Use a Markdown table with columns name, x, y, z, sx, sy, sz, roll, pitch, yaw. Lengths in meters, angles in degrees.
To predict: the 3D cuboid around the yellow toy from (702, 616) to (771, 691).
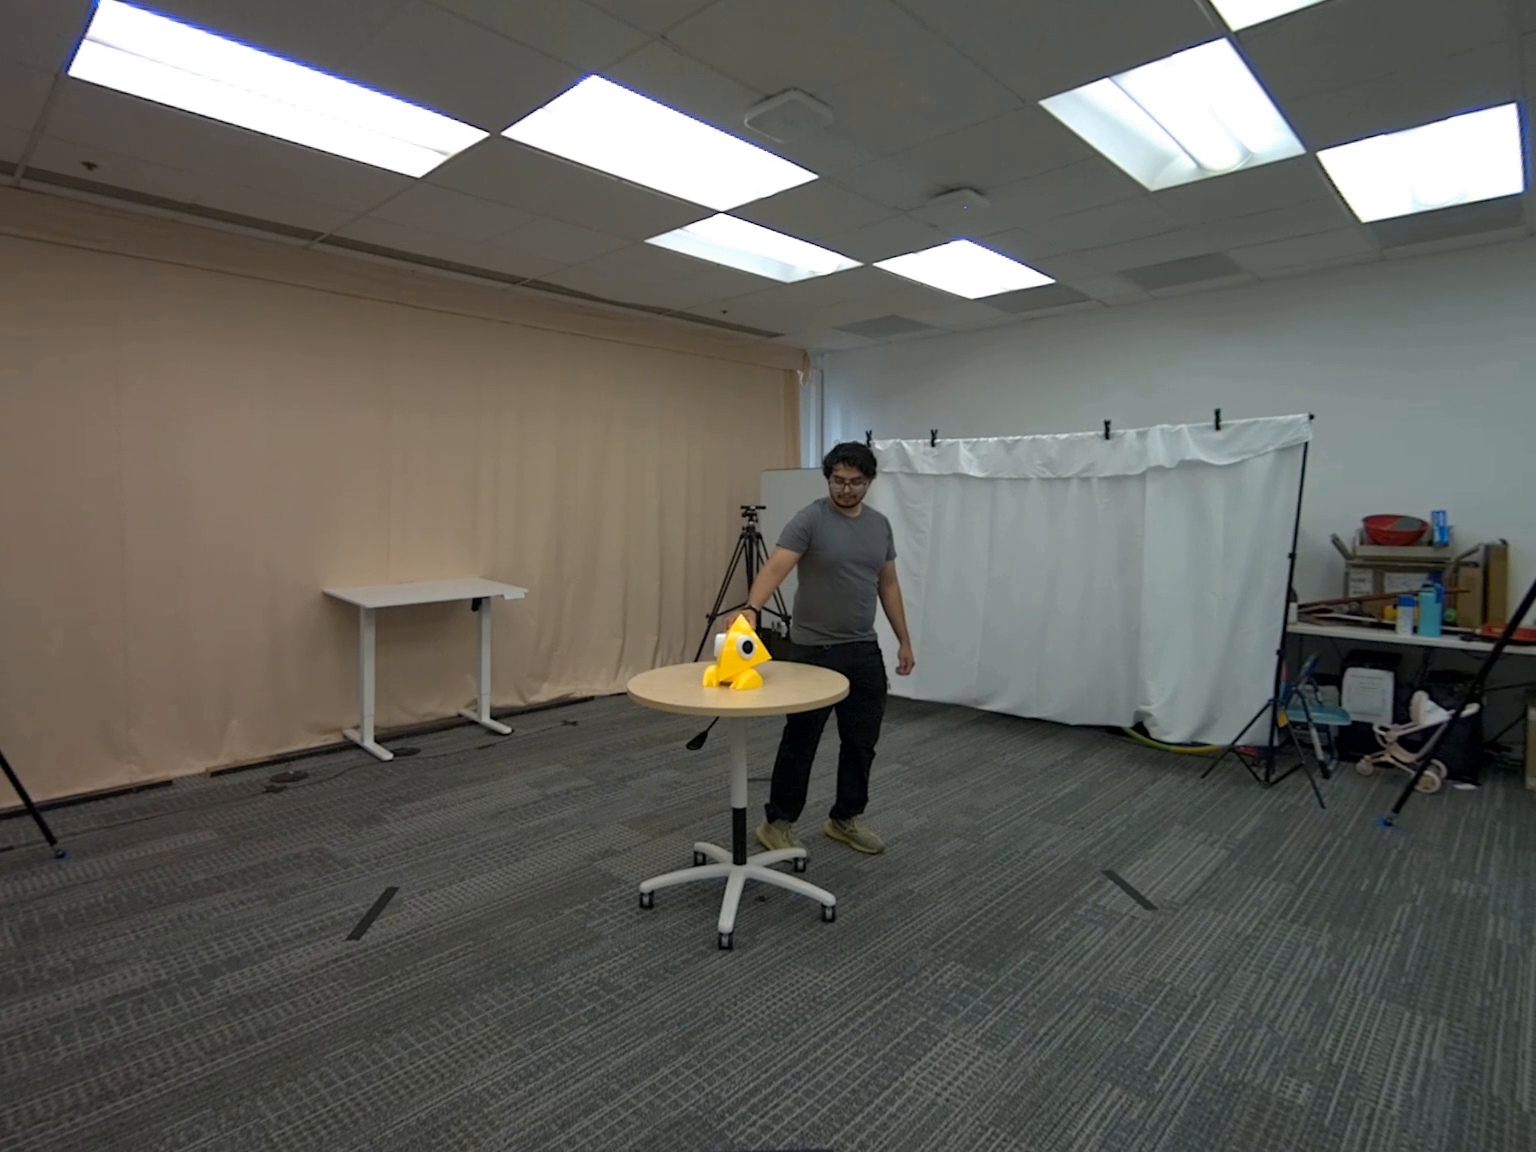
| name | x | y | z | sx | sy | sz | roll | pitch | yaw |
| --- | --- | --- | --- | --- | --- | --- | --- | --- | --- |
| yellow toy | -0.116 | 0.255 | 2.881 | 0.210 | 0.230 | 0.188 | 1 | 4 | 29 |
